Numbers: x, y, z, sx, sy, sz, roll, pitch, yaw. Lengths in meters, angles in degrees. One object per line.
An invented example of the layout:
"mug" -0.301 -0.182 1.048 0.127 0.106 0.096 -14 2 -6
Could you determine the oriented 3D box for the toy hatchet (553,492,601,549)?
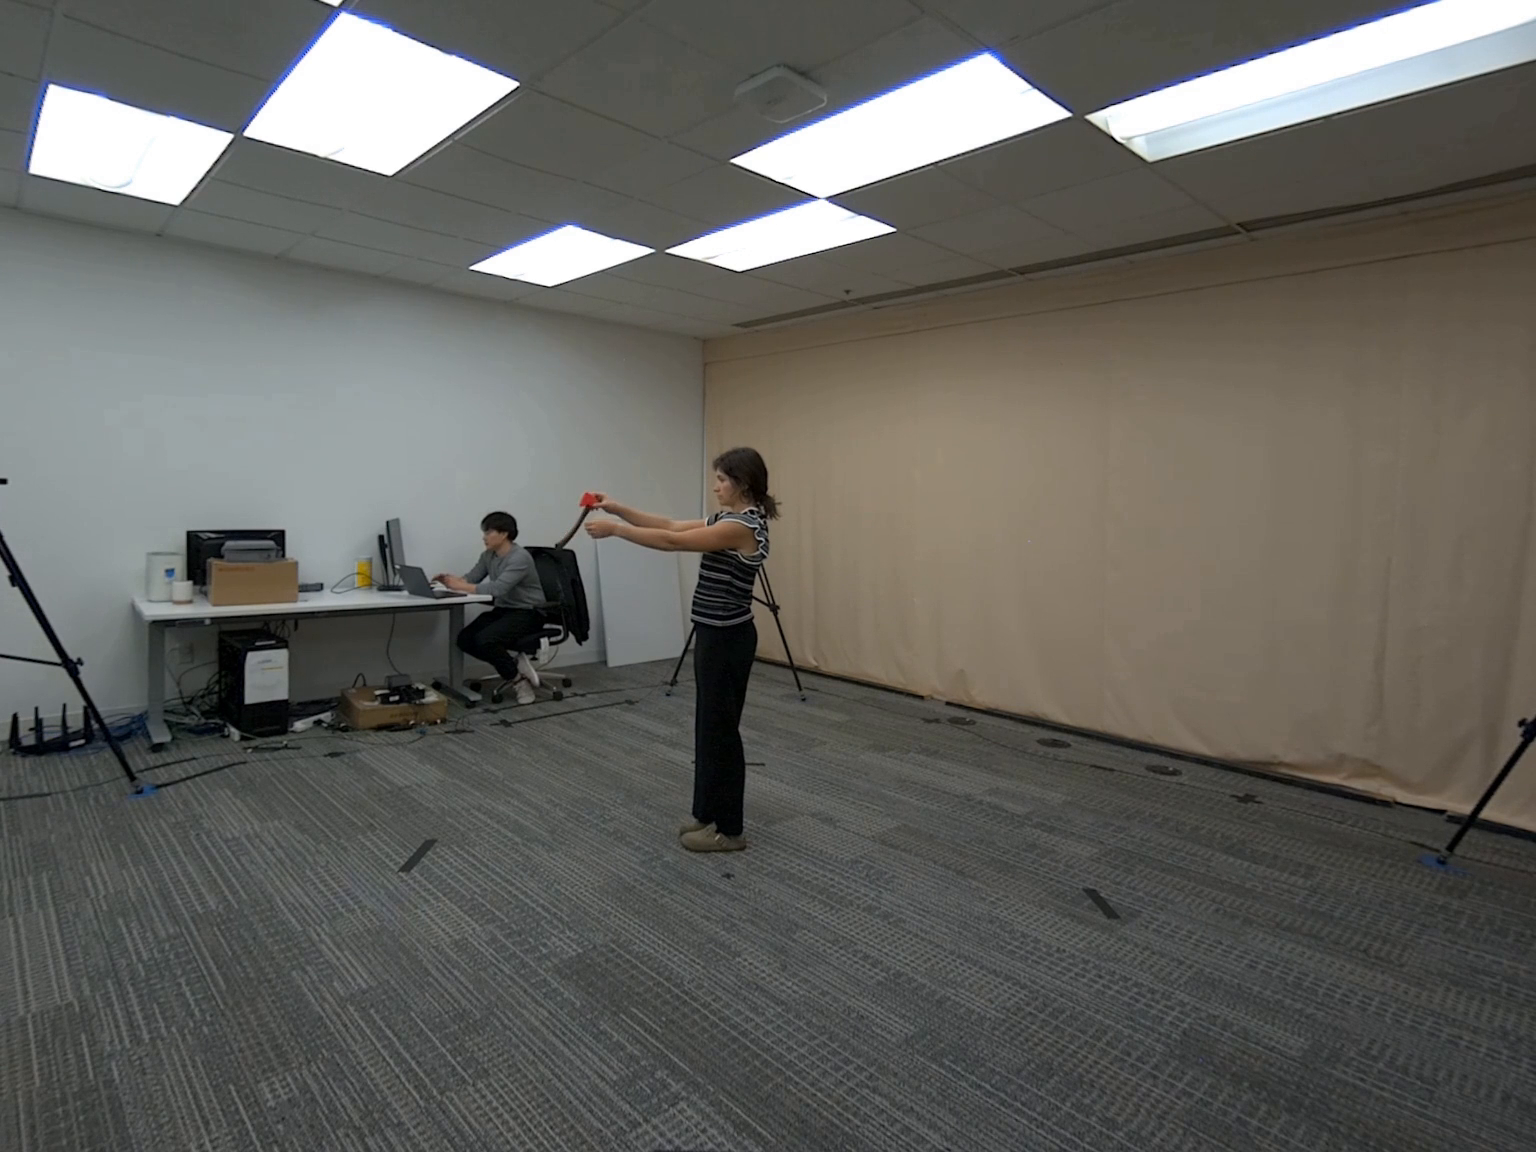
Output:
"toy hatchet" -0.757 -0.222 3.256 0.030 0.271 0.128 21 -30 15
